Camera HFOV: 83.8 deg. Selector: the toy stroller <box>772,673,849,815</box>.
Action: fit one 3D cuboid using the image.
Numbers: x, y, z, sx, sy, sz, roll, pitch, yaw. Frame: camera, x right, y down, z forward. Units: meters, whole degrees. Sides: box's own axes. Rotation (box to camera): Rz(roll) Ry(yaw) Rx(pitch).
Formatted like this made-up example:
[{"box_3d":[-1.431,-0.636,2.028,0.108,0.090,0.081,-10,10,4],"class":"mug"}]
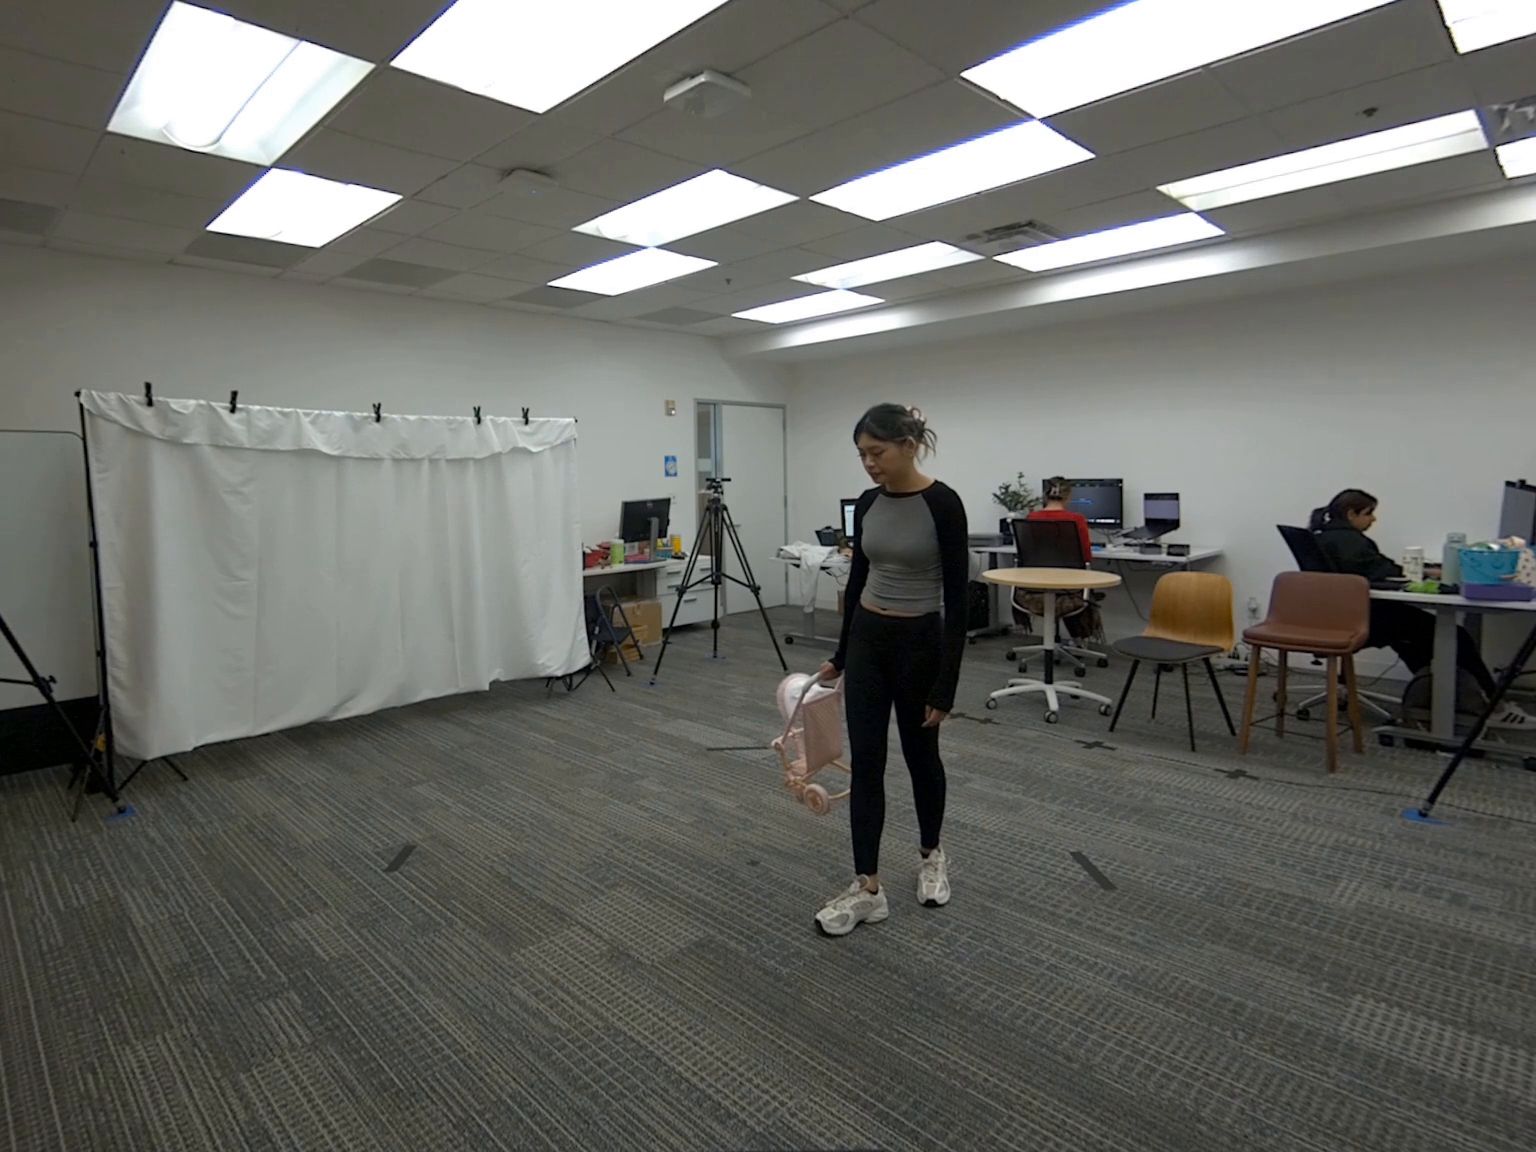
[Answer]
[{"box_3d":[0.166,0.588,3.061,0.276,0.532,0.350,-15,6,-34],"class":"toy stroller"}]
